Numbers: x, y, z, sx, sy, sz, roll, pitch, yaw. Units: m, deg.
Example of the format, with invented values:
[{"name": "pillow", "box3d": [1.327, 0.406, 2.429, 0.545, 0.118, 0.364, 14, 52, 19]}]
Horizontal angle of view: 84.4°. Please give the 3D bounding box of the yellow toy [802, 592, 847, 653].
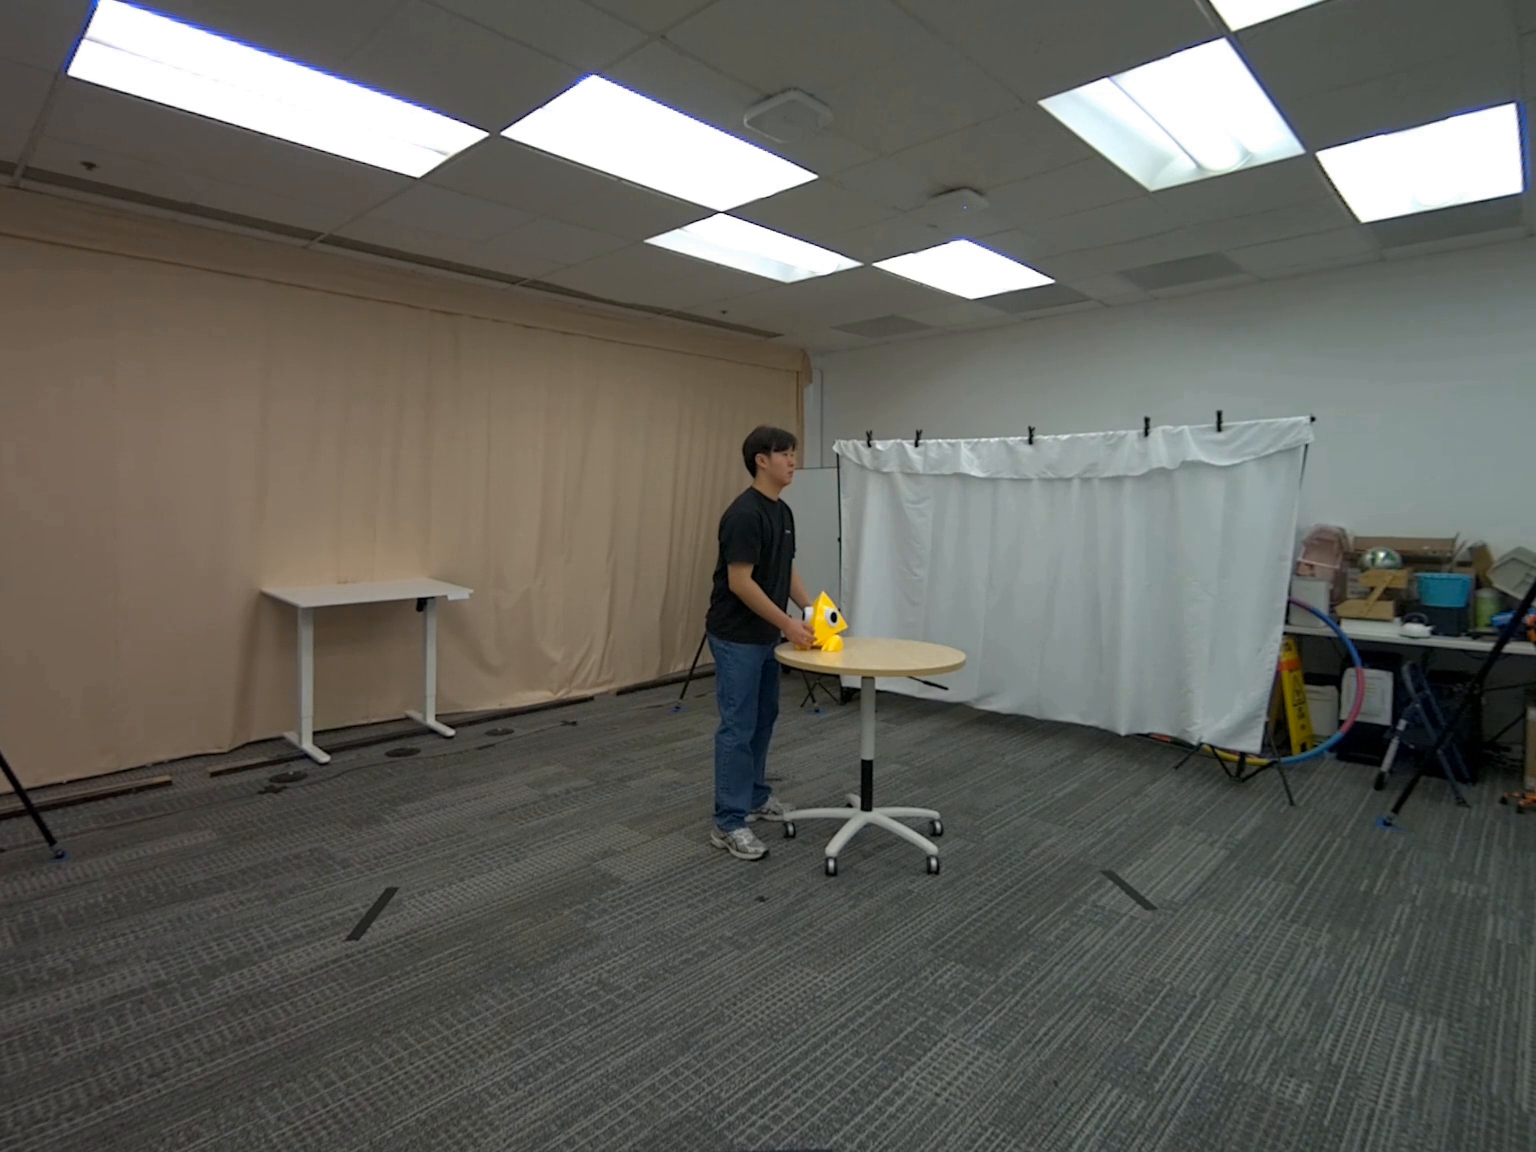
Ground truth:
[{"name": "yellow toy", "box3d": [0.218, 0.185, 3.528, 0.209, 0.230, 0.189, 2, 4, 19]}]
